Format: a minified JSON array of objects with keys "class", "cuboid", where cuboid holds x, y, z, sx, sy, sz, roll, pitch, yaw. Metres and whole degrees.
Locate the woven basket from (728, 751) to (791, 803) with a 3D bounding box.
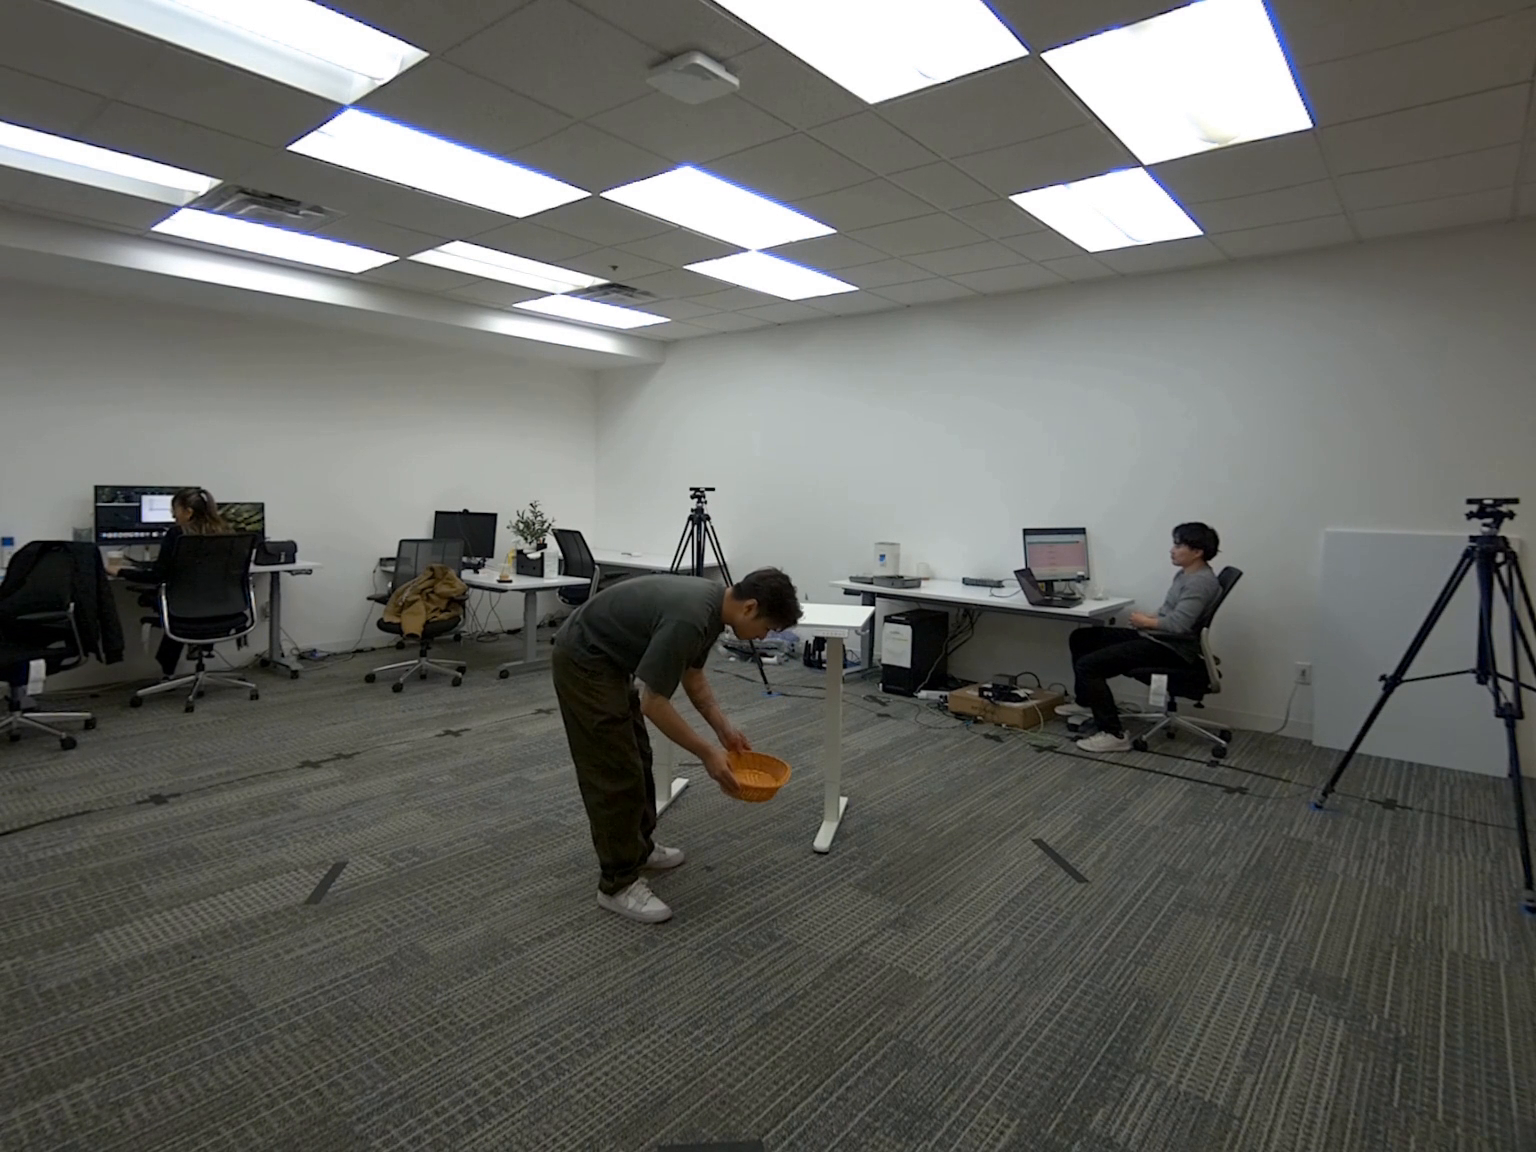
[{"class":"woven basket","cuboid":[-0.066,0.677,2.841,0.257,0.073,0.345,10,6,15]}]
